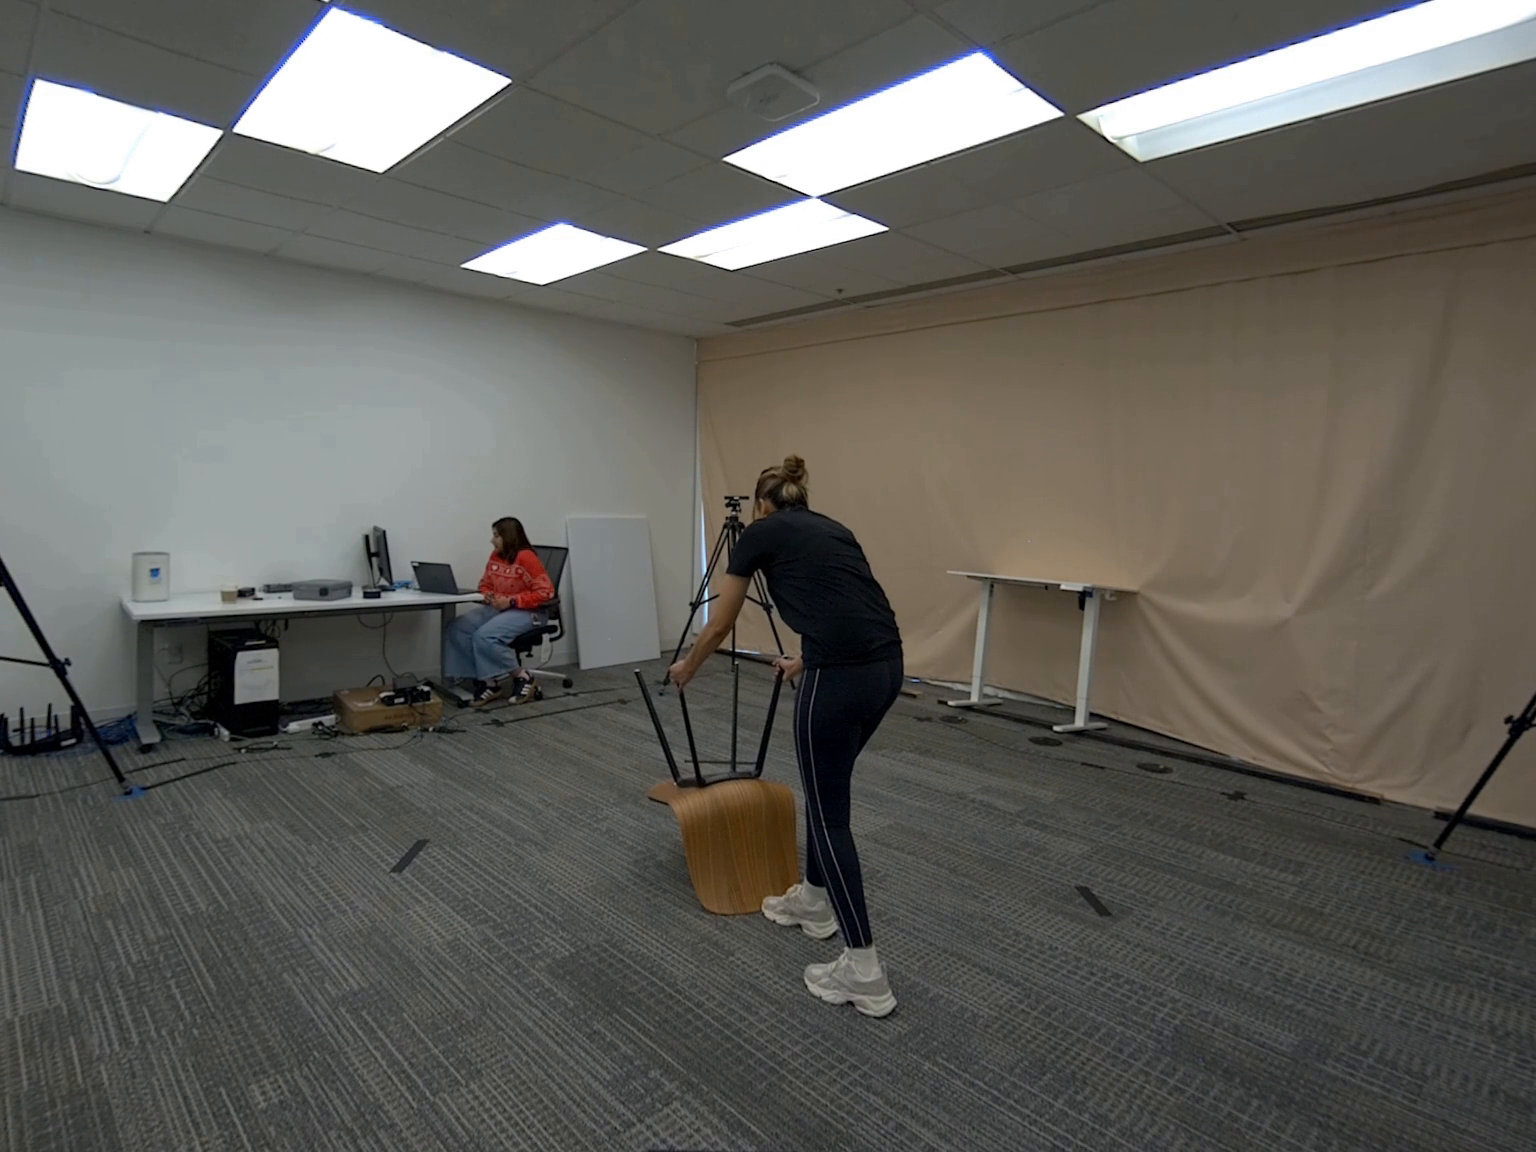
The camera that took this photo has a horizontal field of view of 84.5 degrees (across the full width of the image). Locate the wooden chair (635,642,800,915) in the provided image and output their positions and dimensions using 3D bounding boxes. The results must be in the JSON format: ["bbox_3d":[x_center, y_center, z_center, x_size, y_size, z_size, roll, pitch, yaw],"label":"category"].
[{"bbox_3d":[-0.195,0.767,3.162,0.469,0.886,0.527,-1,-13,-26],"label":"wooden chair"}]
